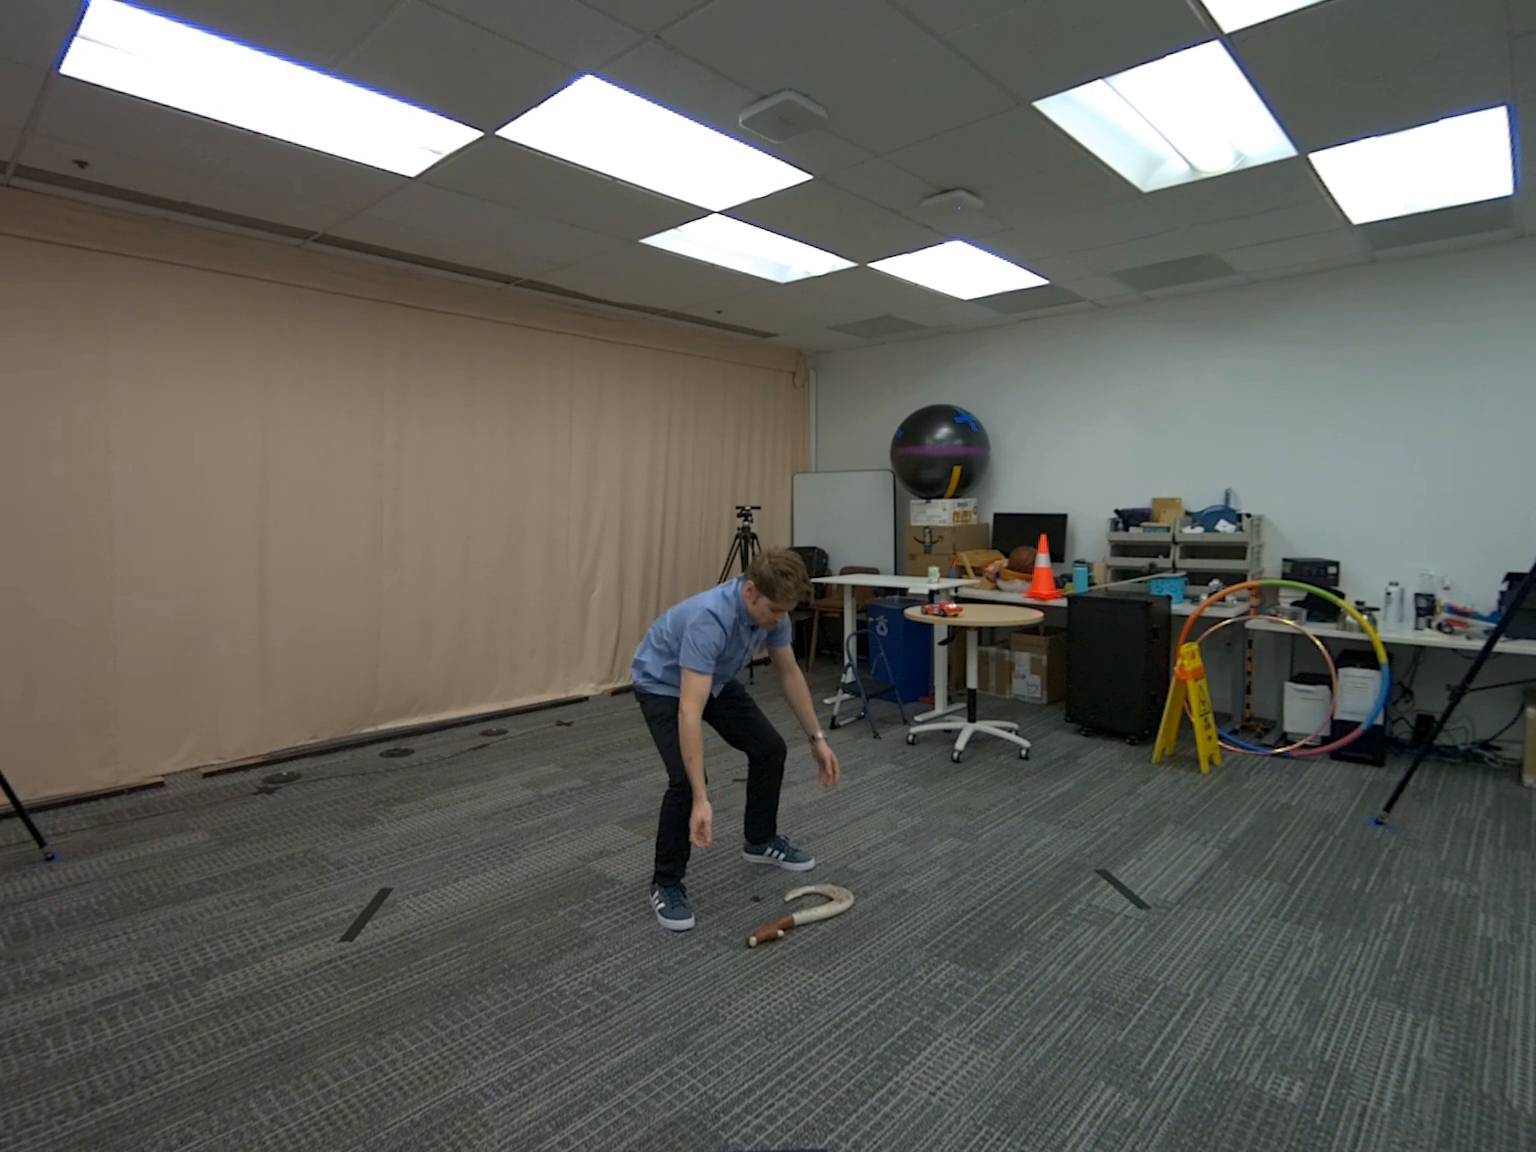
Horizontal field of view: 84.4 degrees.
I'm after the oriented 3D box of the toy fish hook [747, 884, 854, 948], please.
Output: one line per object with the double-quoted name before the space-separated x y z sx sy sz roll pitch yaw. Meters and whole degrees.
"toy fish hook" 0.080 1.138 2.851 0.491 0.048 0.231 -3 -2 -42
